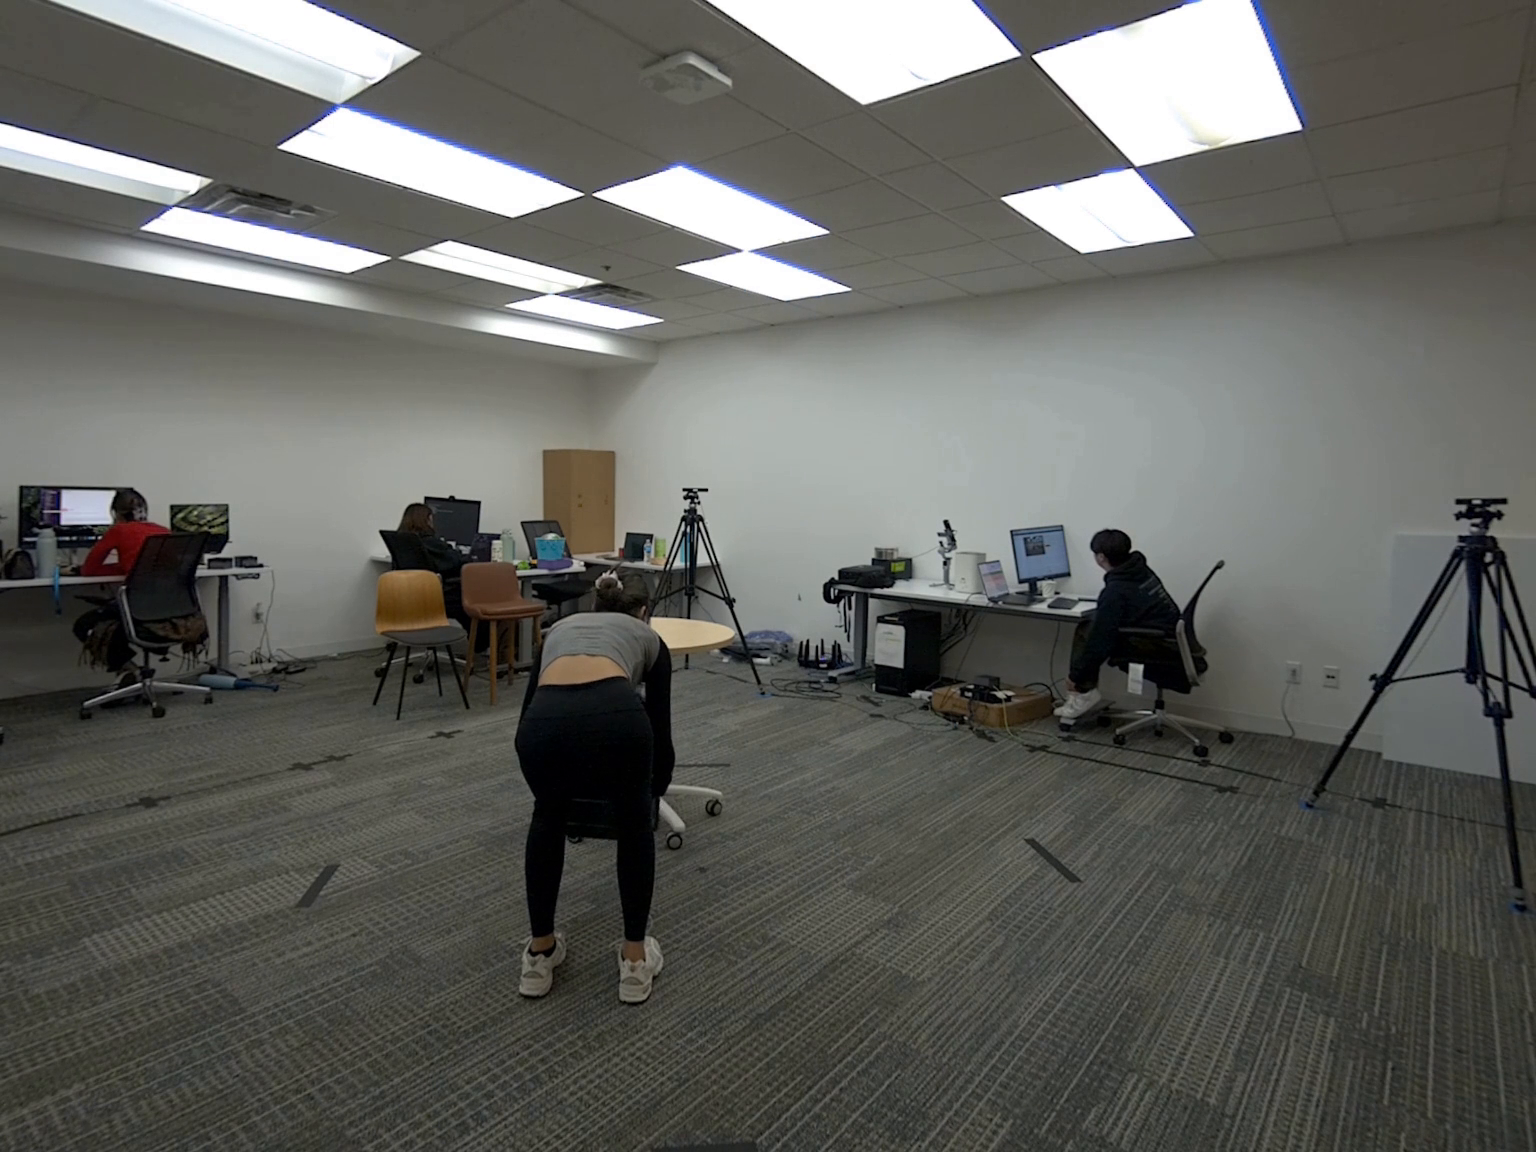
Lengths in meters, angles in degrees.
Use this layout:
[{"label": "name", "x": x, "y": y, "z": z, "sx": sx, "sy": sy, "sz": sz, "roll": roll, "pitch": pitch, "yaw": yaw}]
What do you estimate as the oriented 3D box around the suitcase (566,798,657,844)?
[{"label": "suitcase", "x": -0.528, "y": 0.587, "z": 2.759, "sx": 0.377, "sy": 0.546, "sz": 0.249, "roll": 3, "pitch": 6, "yaw": 3}]
